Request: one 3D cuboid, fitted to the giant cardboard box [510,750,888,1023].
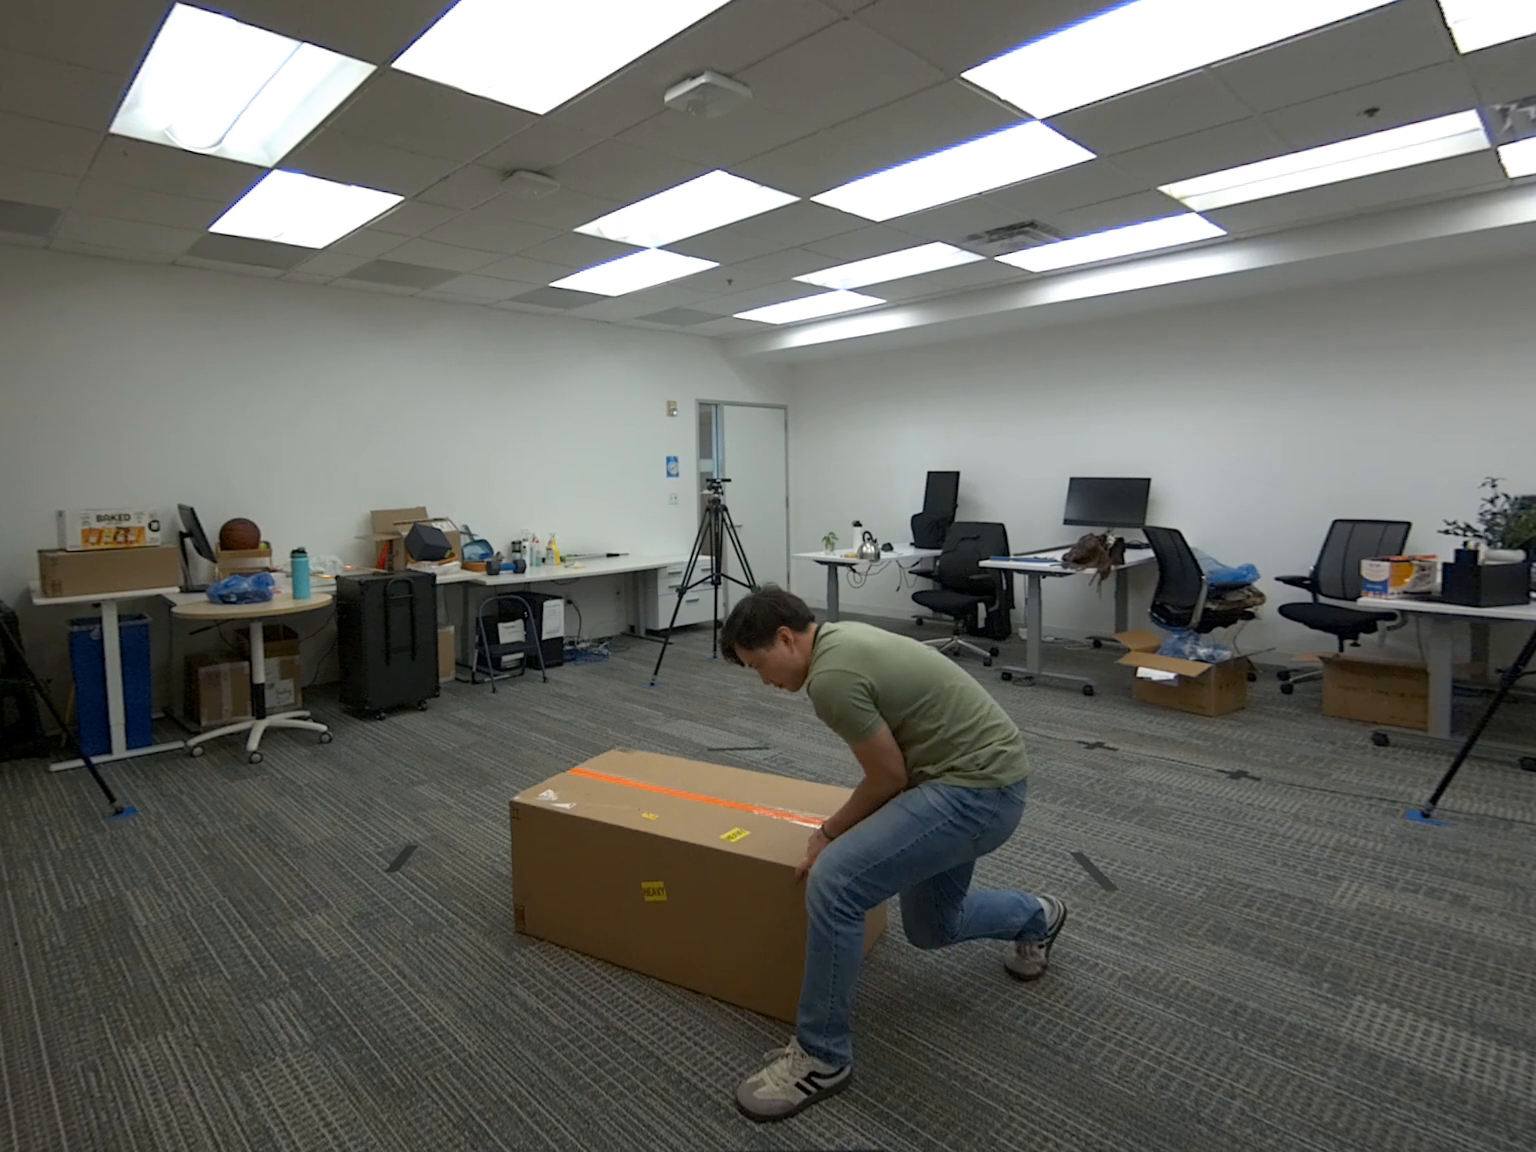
[{"bbox_3d":[-0.216,0.888,2.652,1.053,0.424,0.566,3,8,29],"label":"giant cardboard box"}]
